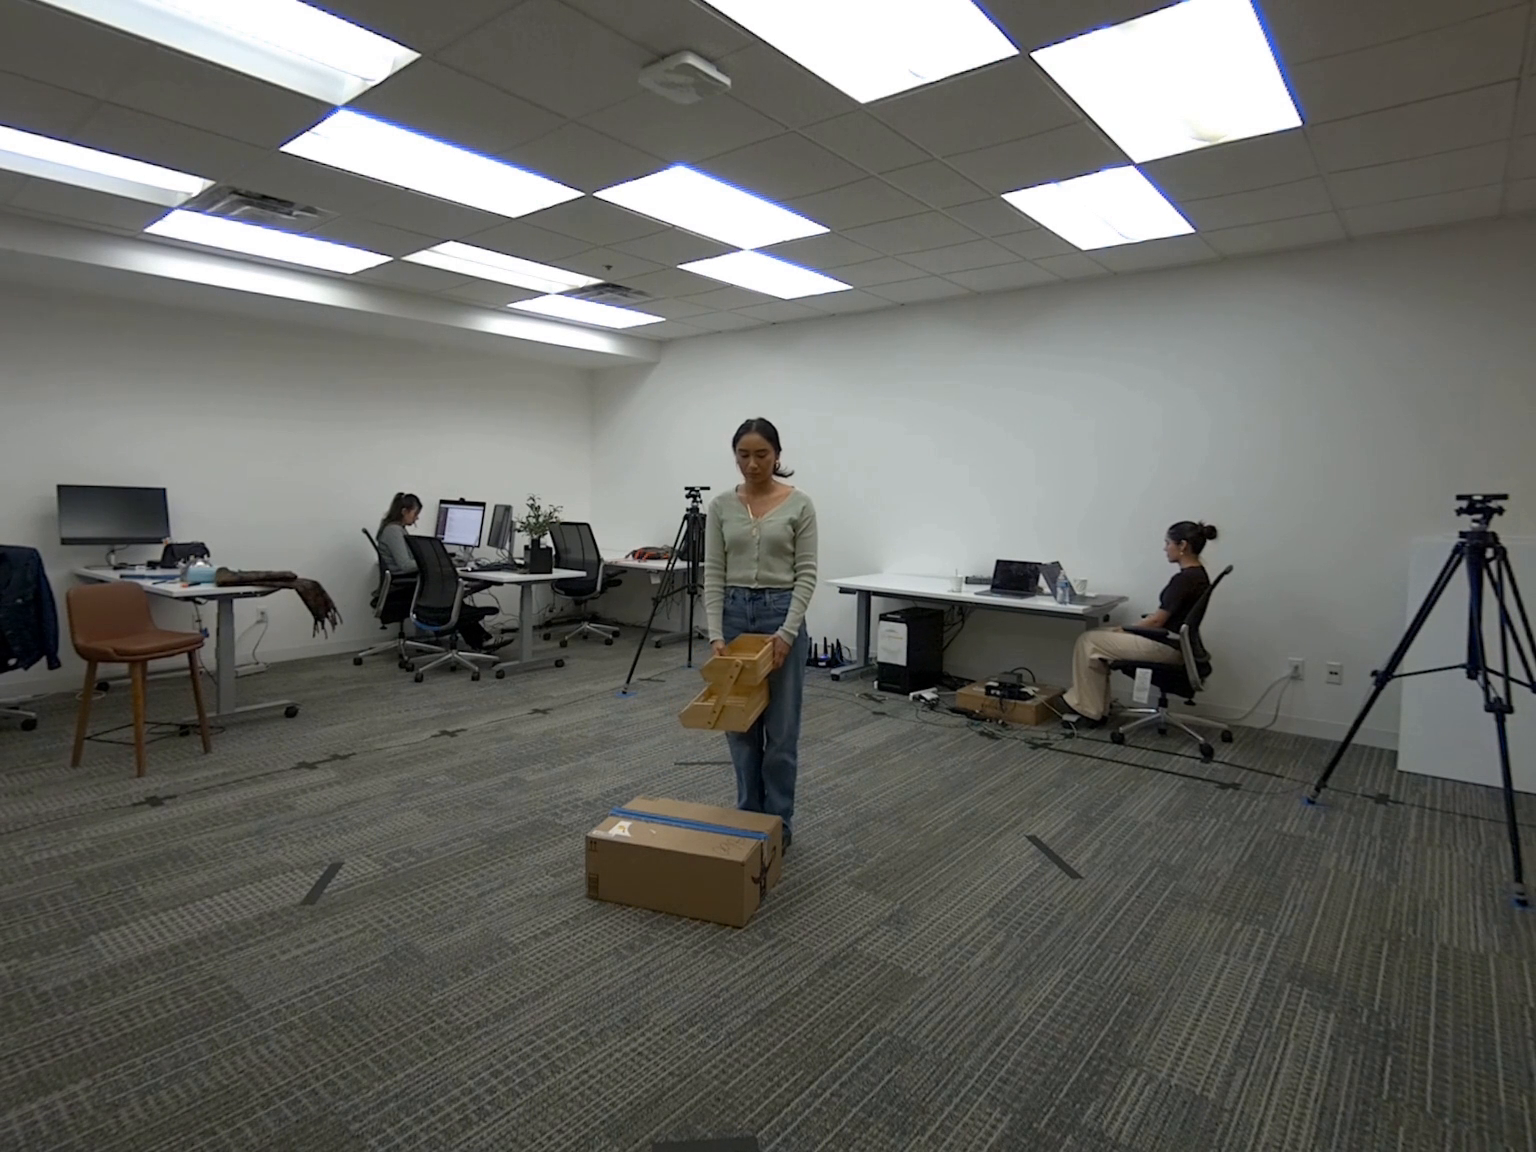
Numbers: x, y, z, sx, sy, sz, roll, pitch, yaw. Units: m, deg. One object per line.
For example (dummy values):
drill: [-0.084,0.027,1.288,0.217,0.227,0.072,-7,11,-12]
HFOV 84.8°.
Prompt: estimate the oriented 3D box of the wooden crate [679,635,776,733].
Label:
wooden crate: [-0.152,0.368,3.059,0.307,0.271,0.322,1,10,15]
